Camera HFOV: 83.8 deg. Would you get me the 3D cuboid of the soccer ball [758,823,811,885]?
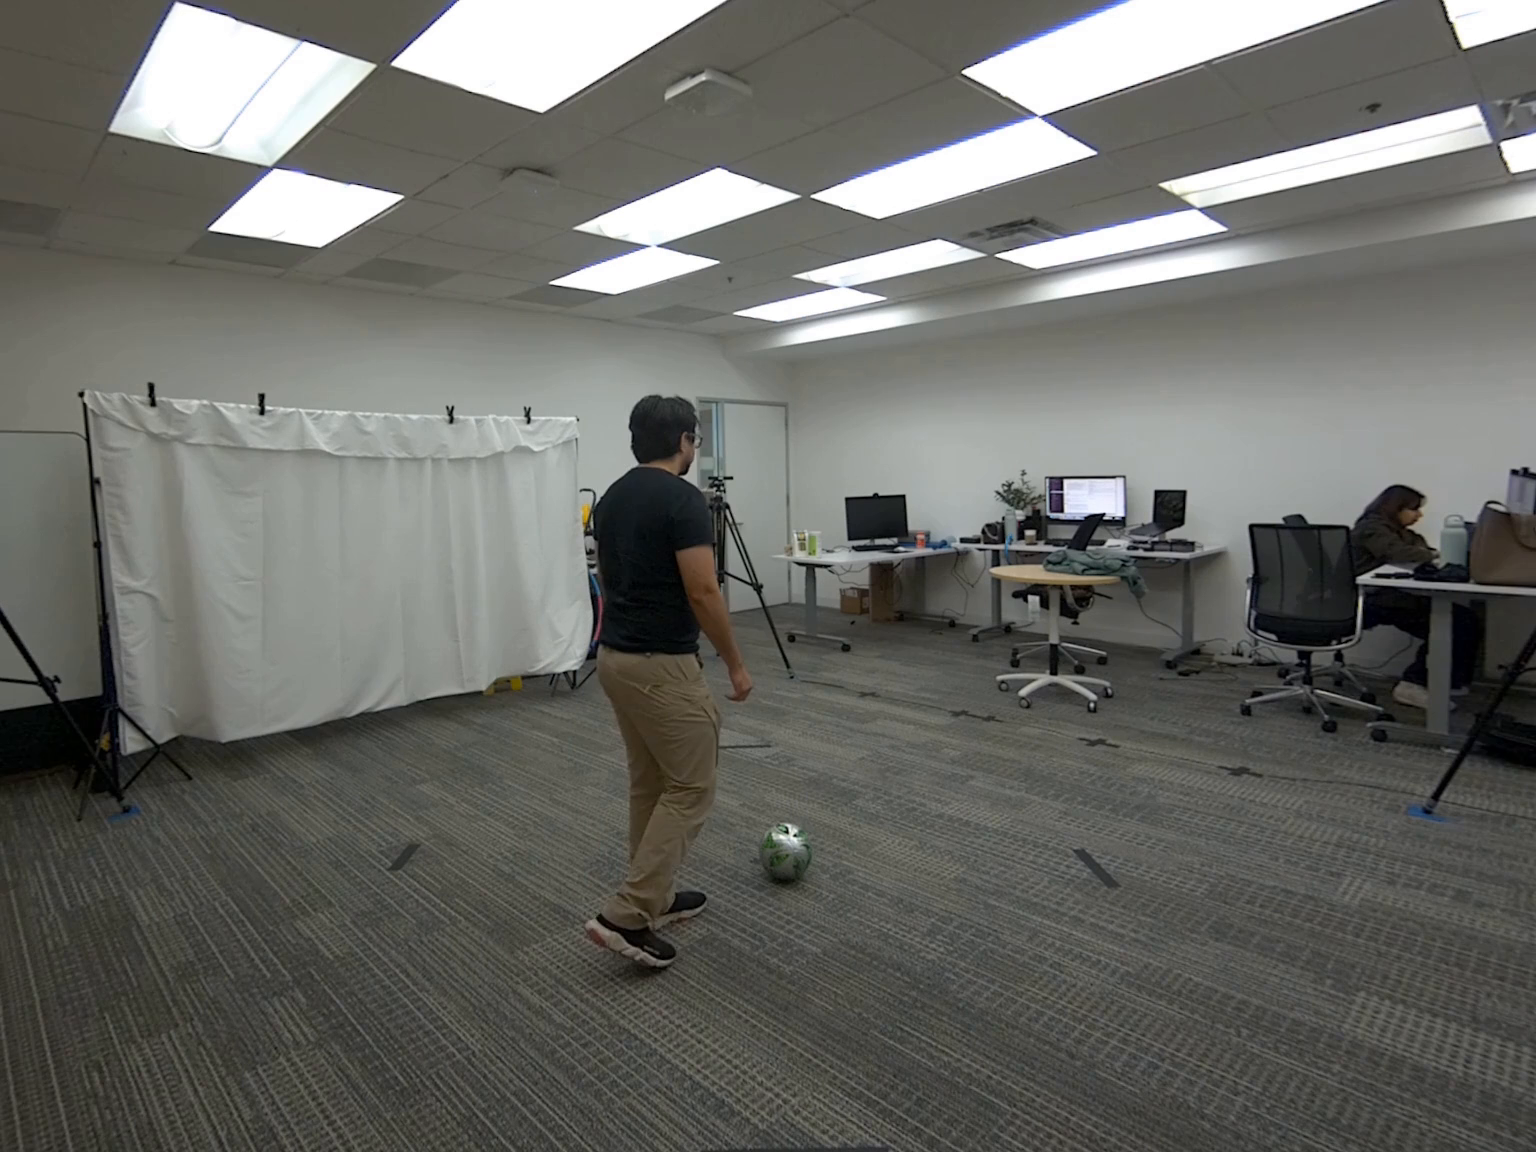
[{"bbox_3d":[0.062,0.959,2.967,0.187,0.187,0.188,-1,5,-2],"label":"soccer ball"}]
